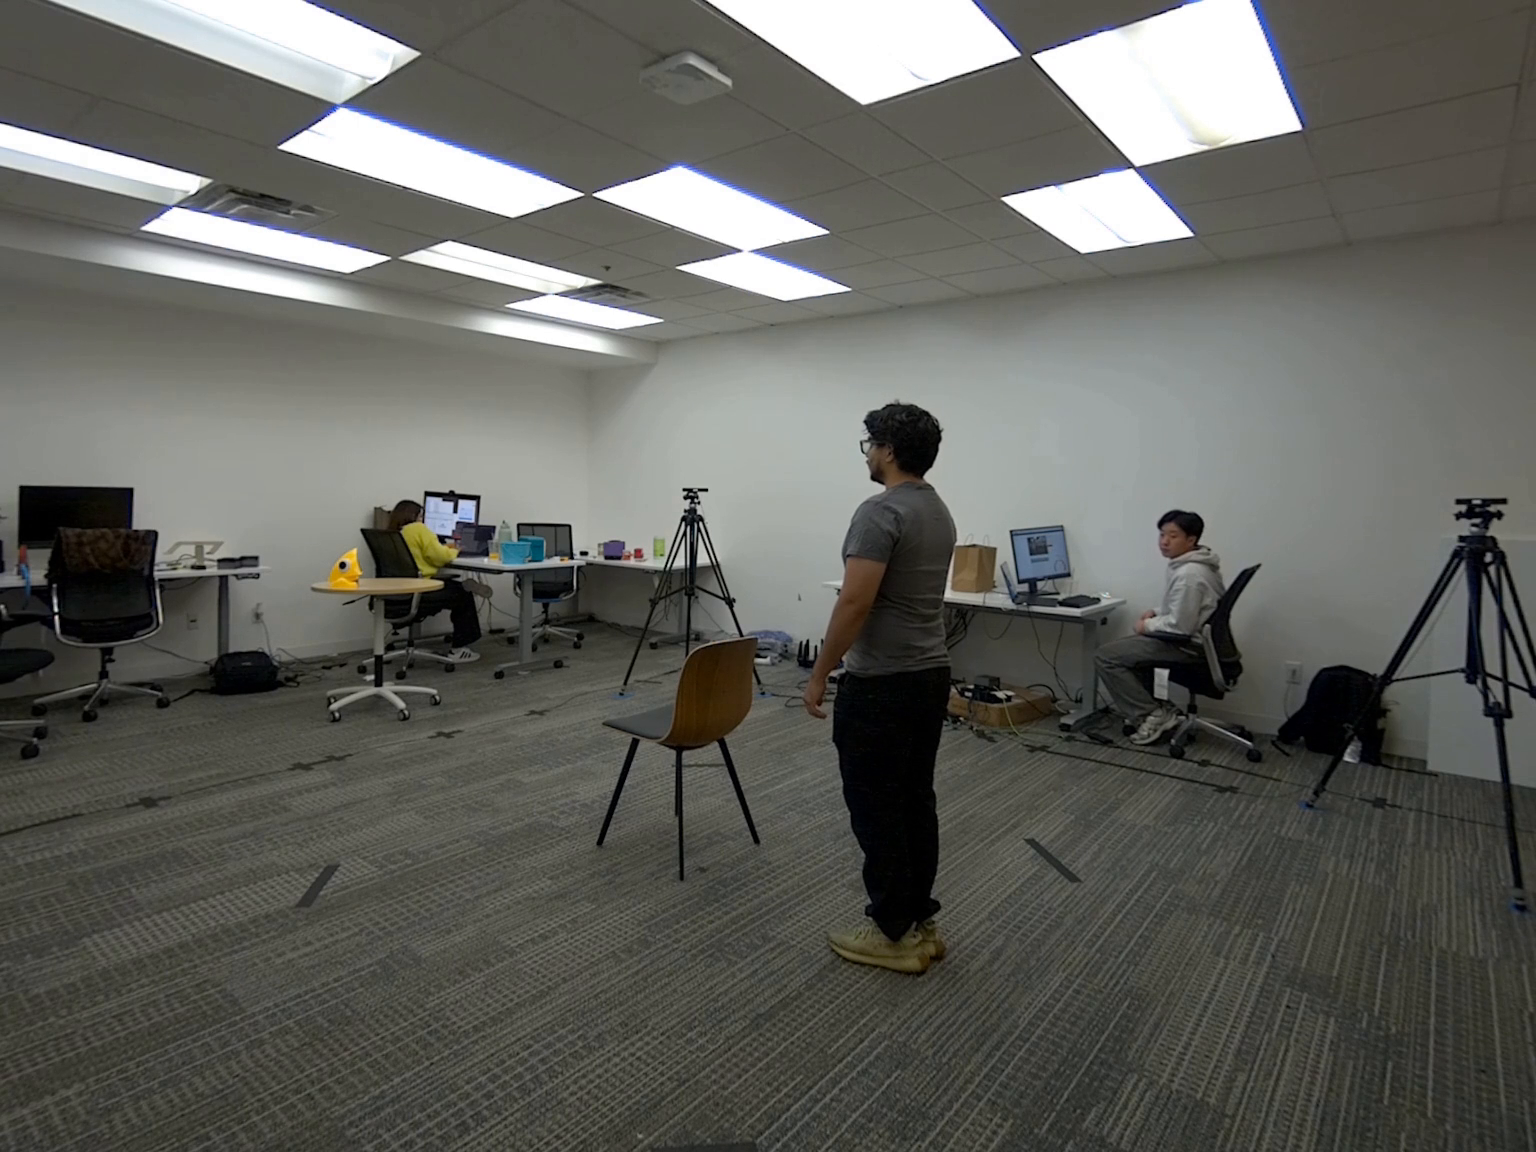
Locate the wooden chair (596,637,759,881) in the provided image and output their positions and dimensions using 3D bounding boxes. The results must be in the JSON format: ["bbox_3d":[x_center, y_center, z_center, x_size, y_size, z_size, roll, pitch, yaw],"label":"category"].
[{"bbox_3d":[-0.359,0.620,3.300,0.542,0.873,0.464,9,7,38],"label":"wooden chair"}]
